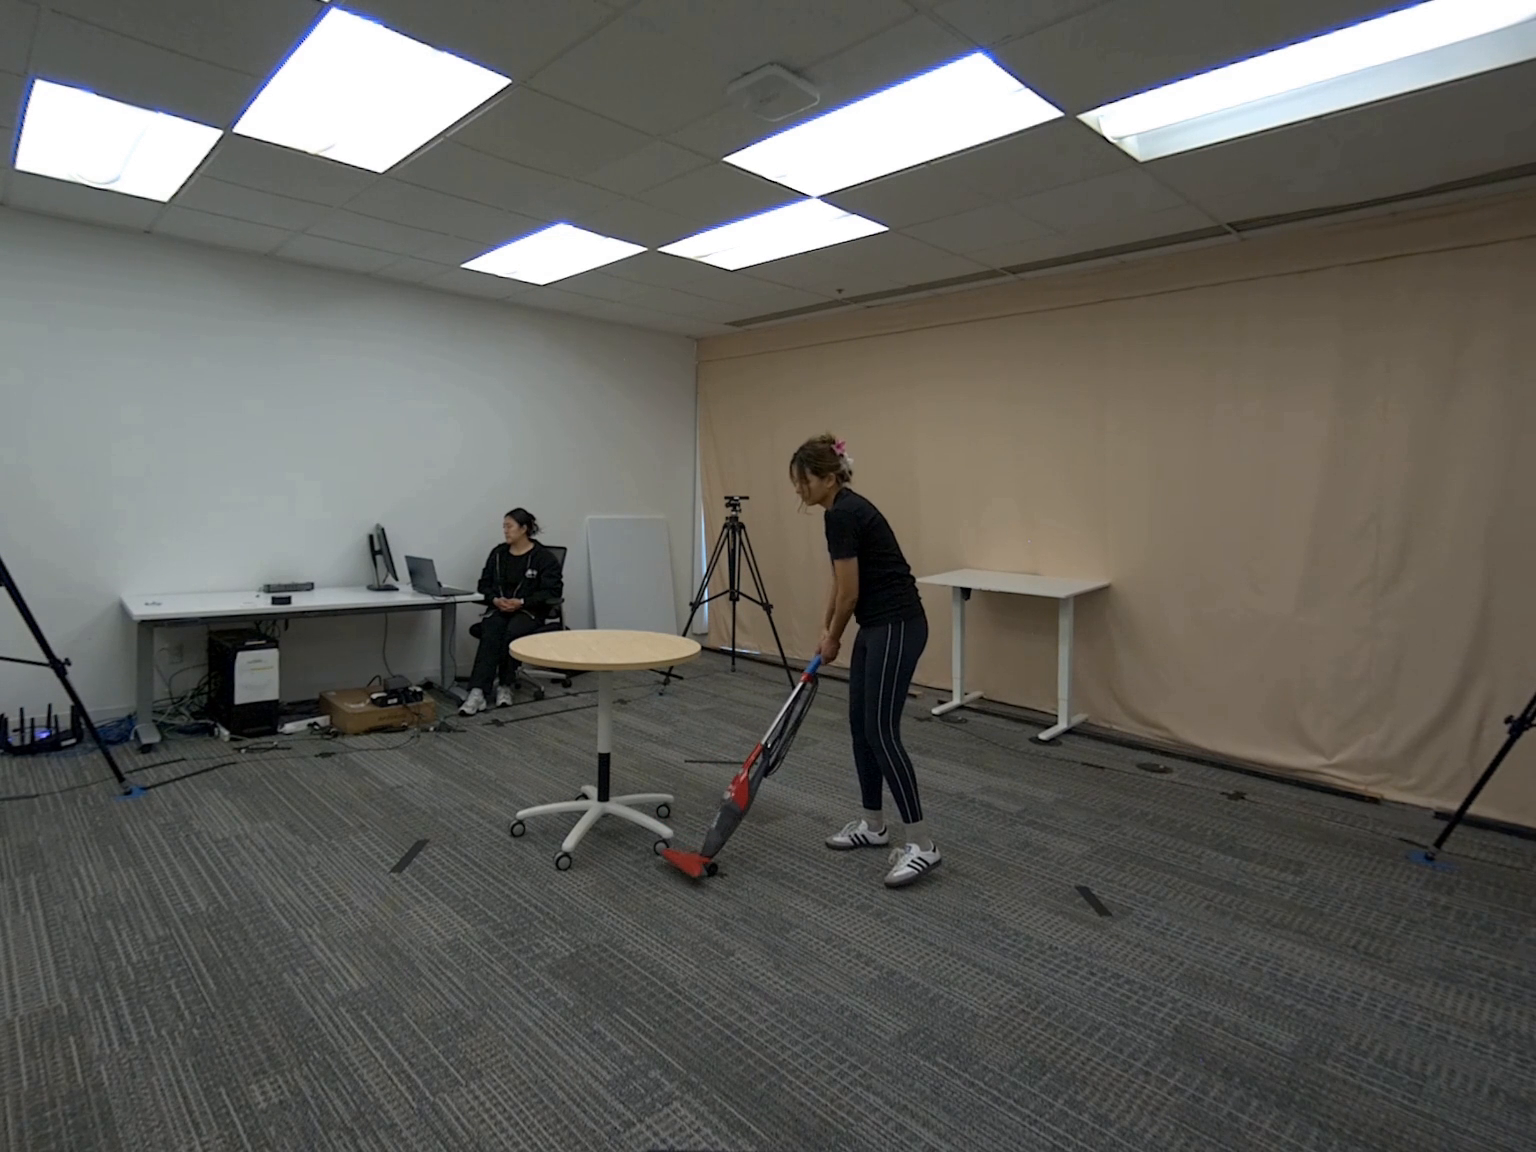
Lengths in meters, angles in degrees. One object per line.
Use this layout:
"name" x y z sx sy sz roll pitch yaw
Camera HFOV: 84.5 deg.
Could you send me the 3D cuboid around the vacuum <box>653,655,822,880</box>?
"vacuum" -0.002 0.684 3.289 0.259 1.051 0.140 11 -34 48
